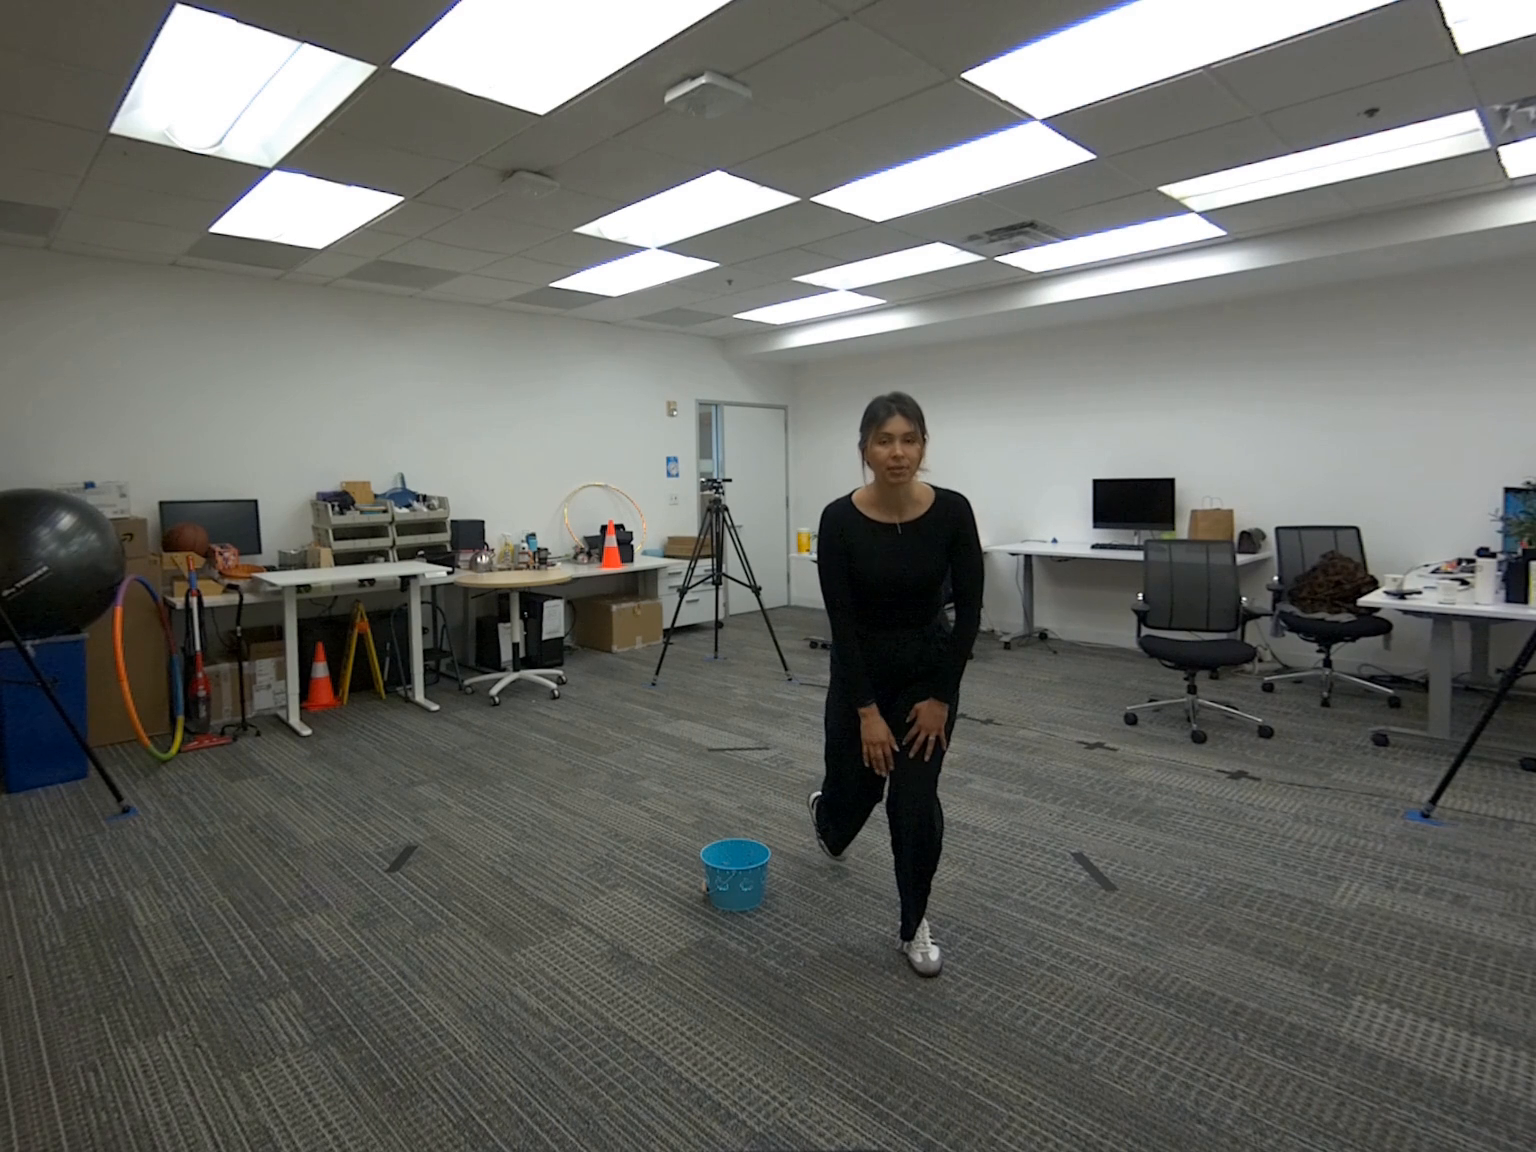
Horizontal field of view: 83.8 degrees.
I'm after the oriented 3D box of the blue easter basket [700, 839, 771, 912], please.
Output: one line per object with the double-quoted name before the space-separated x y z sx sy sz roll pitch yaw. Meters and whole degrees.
"blue easter basket" -0.104 0.996 2.857 0.243 0.155 0.245 -1 6 -2
